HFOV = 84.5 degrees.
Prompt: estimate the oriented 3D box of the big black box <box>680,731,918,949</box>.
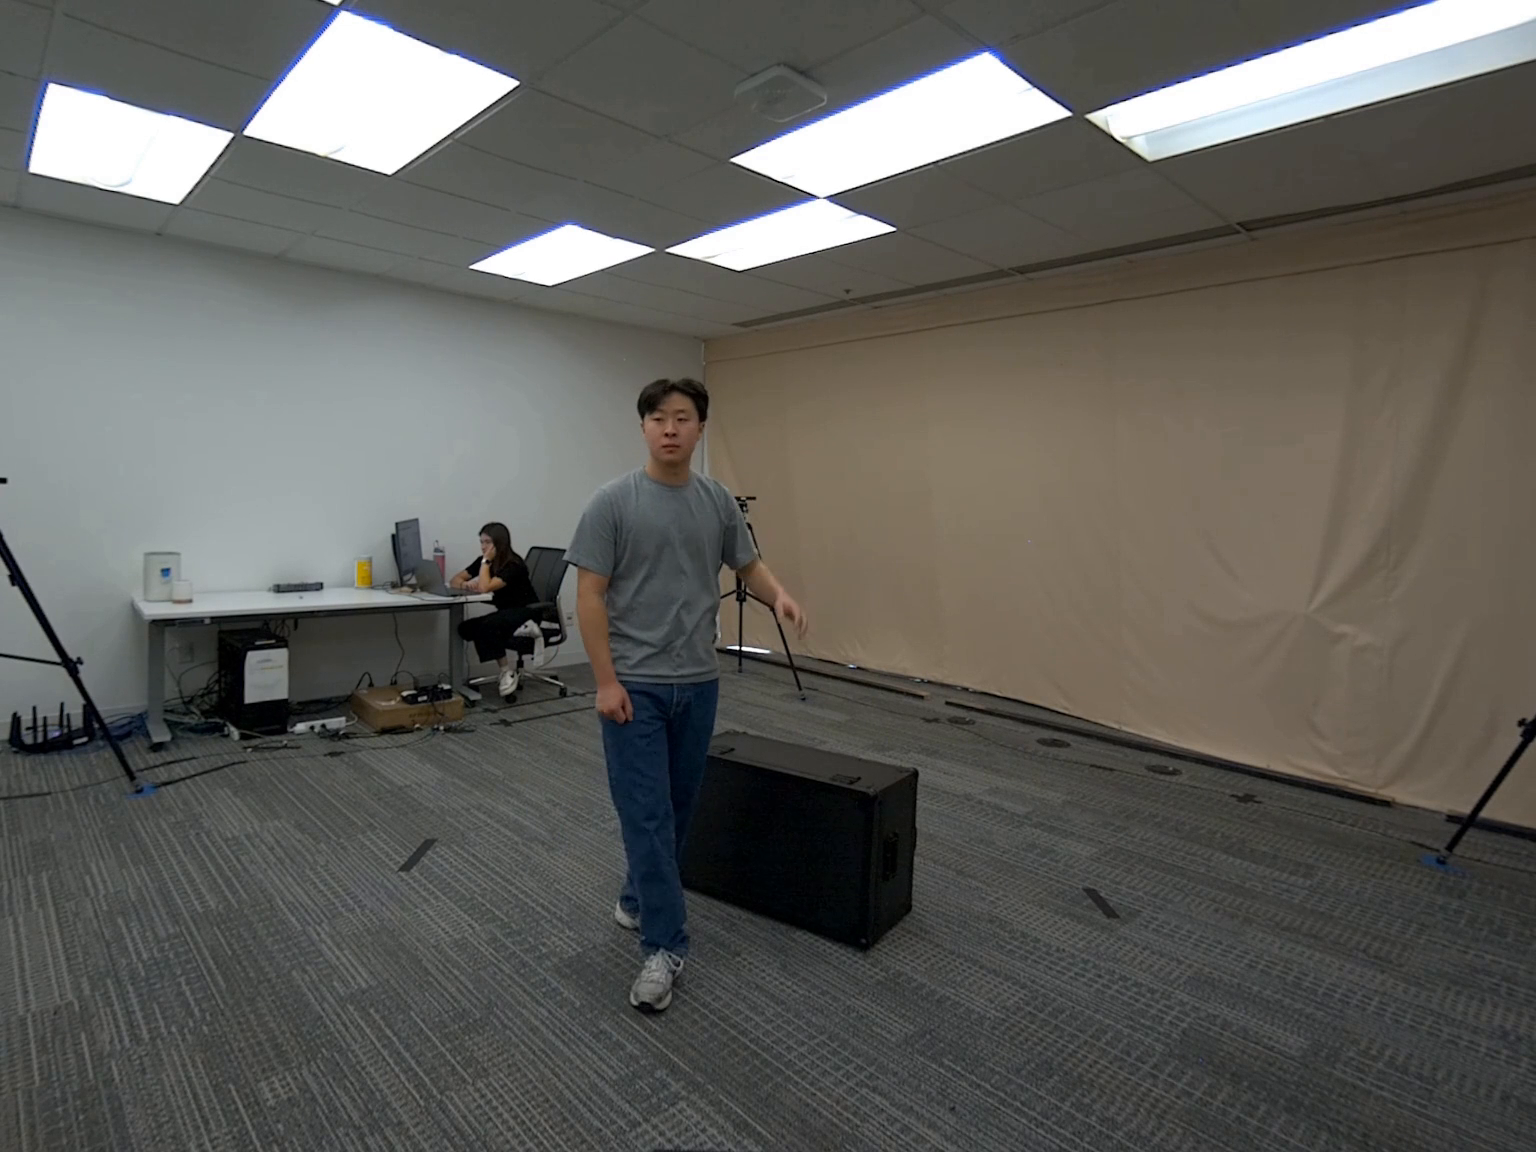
[{"bbox_3d":[0.057,0.865,2.966,0.882,0.520,0.387,5,3,33],"label":"big black box"}]
